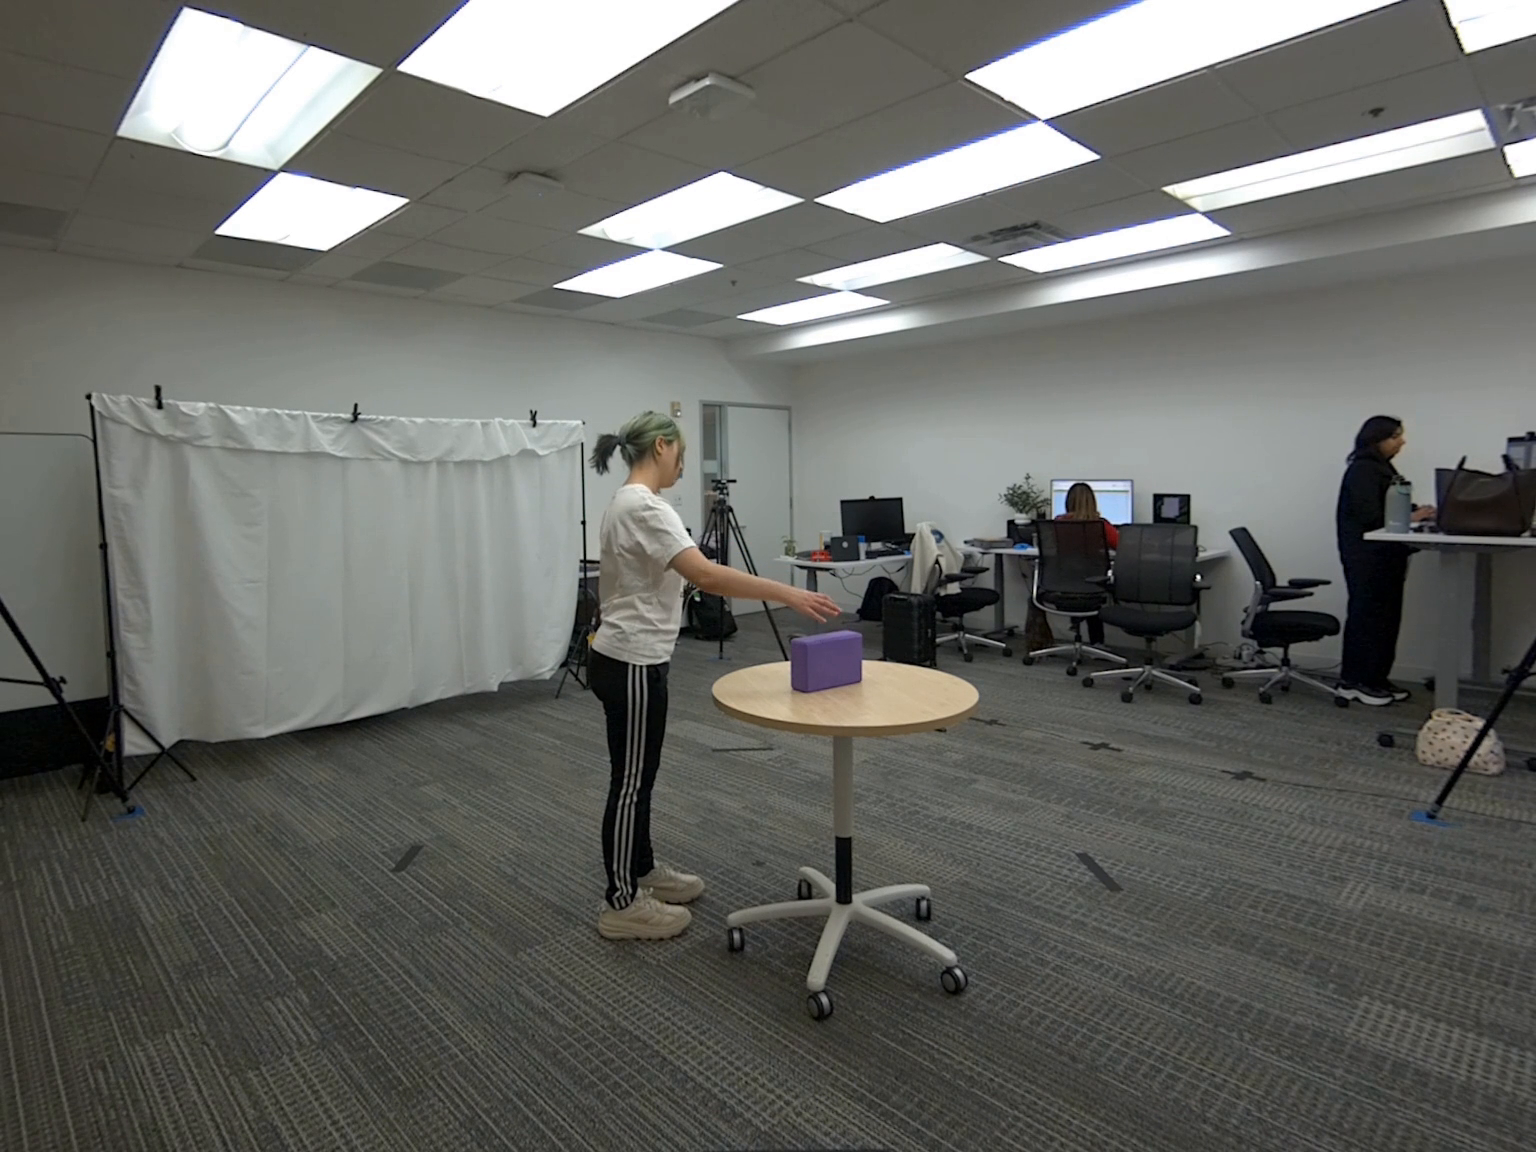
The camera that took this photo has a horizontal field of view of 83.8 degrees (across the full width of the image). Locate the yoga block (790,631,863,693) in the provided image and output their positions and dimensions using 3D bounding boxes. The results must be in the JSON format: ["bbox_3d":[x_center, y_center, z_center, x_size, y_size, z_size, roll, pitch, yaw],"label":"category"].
[{"bbox_3d":[0.176,0.249,2.514,0.223,0.148,0.079,-5,7,-36],"label":"yoga block"}]
